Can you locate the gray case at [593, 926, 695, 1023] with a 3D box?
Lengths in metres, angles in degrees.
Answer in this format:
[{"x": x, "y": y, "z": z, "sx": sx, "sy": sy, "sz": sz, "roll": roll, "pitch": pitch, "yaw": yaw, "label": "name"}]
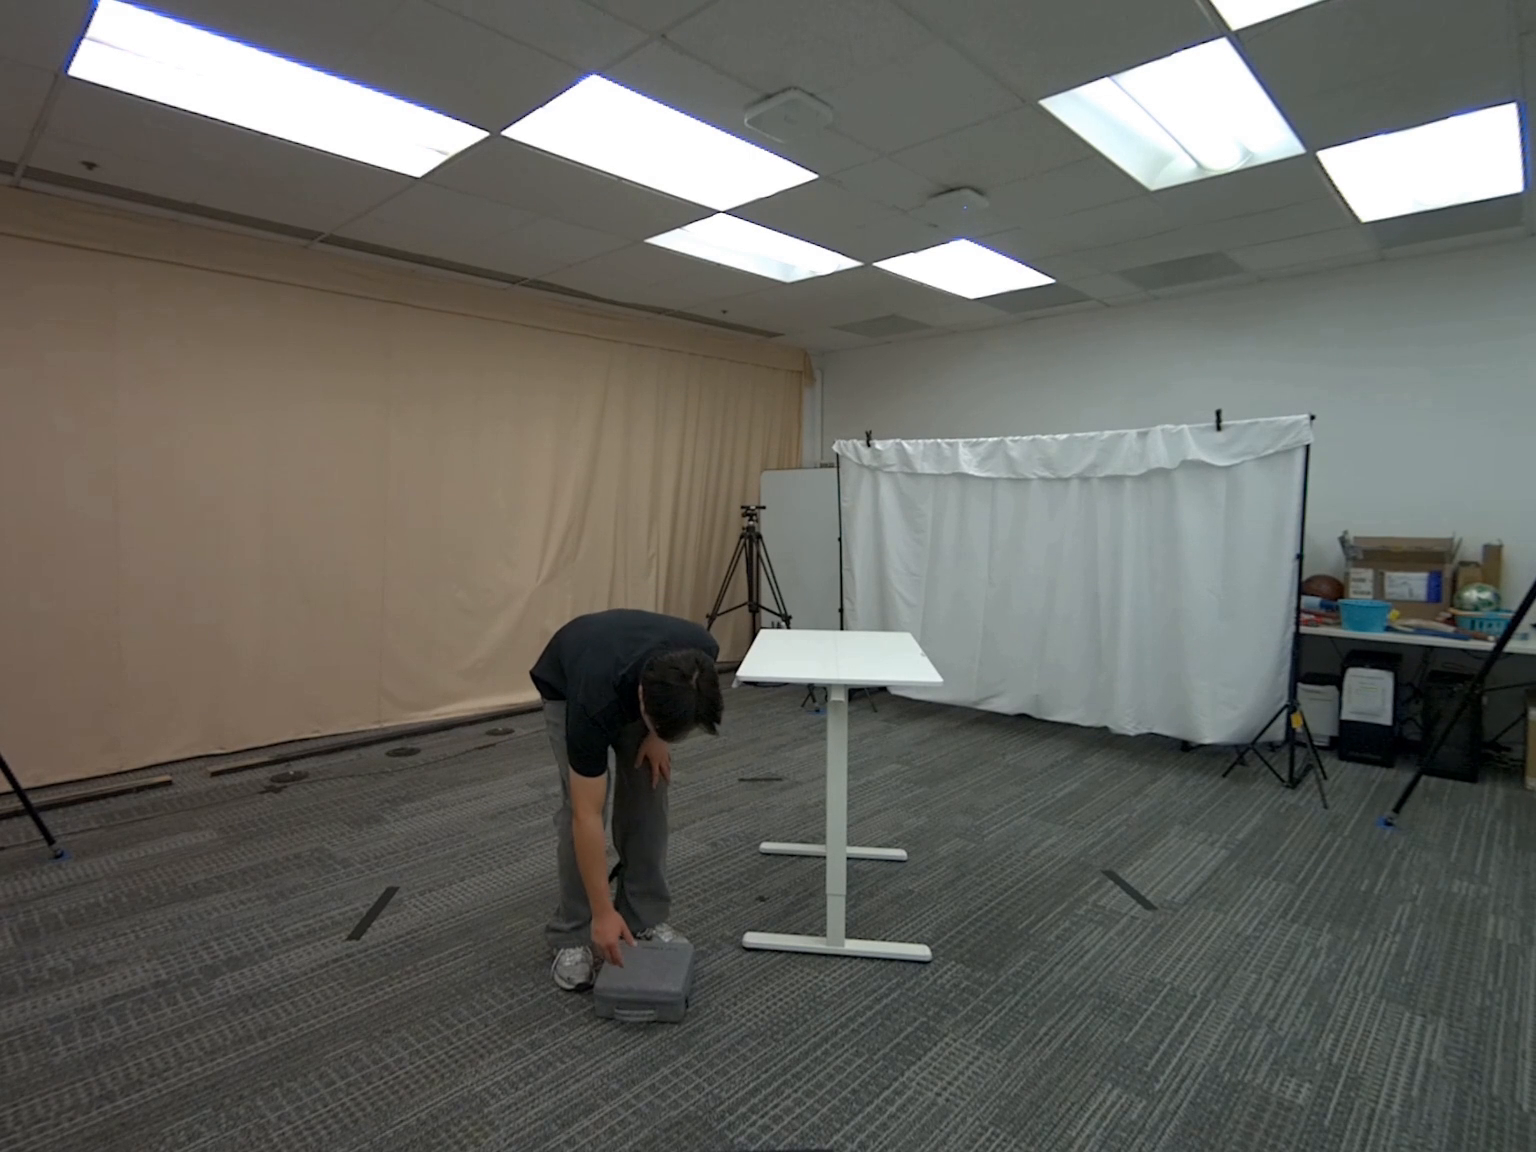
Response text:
[{"x": -0.345, "y": 1.136, "z": 2.376, "sx": 0.265, "sy": 0.103, "sz": 0.285, "roll": 1, "pitch": 4, "yaw": 6, "label": "gray case"}]
